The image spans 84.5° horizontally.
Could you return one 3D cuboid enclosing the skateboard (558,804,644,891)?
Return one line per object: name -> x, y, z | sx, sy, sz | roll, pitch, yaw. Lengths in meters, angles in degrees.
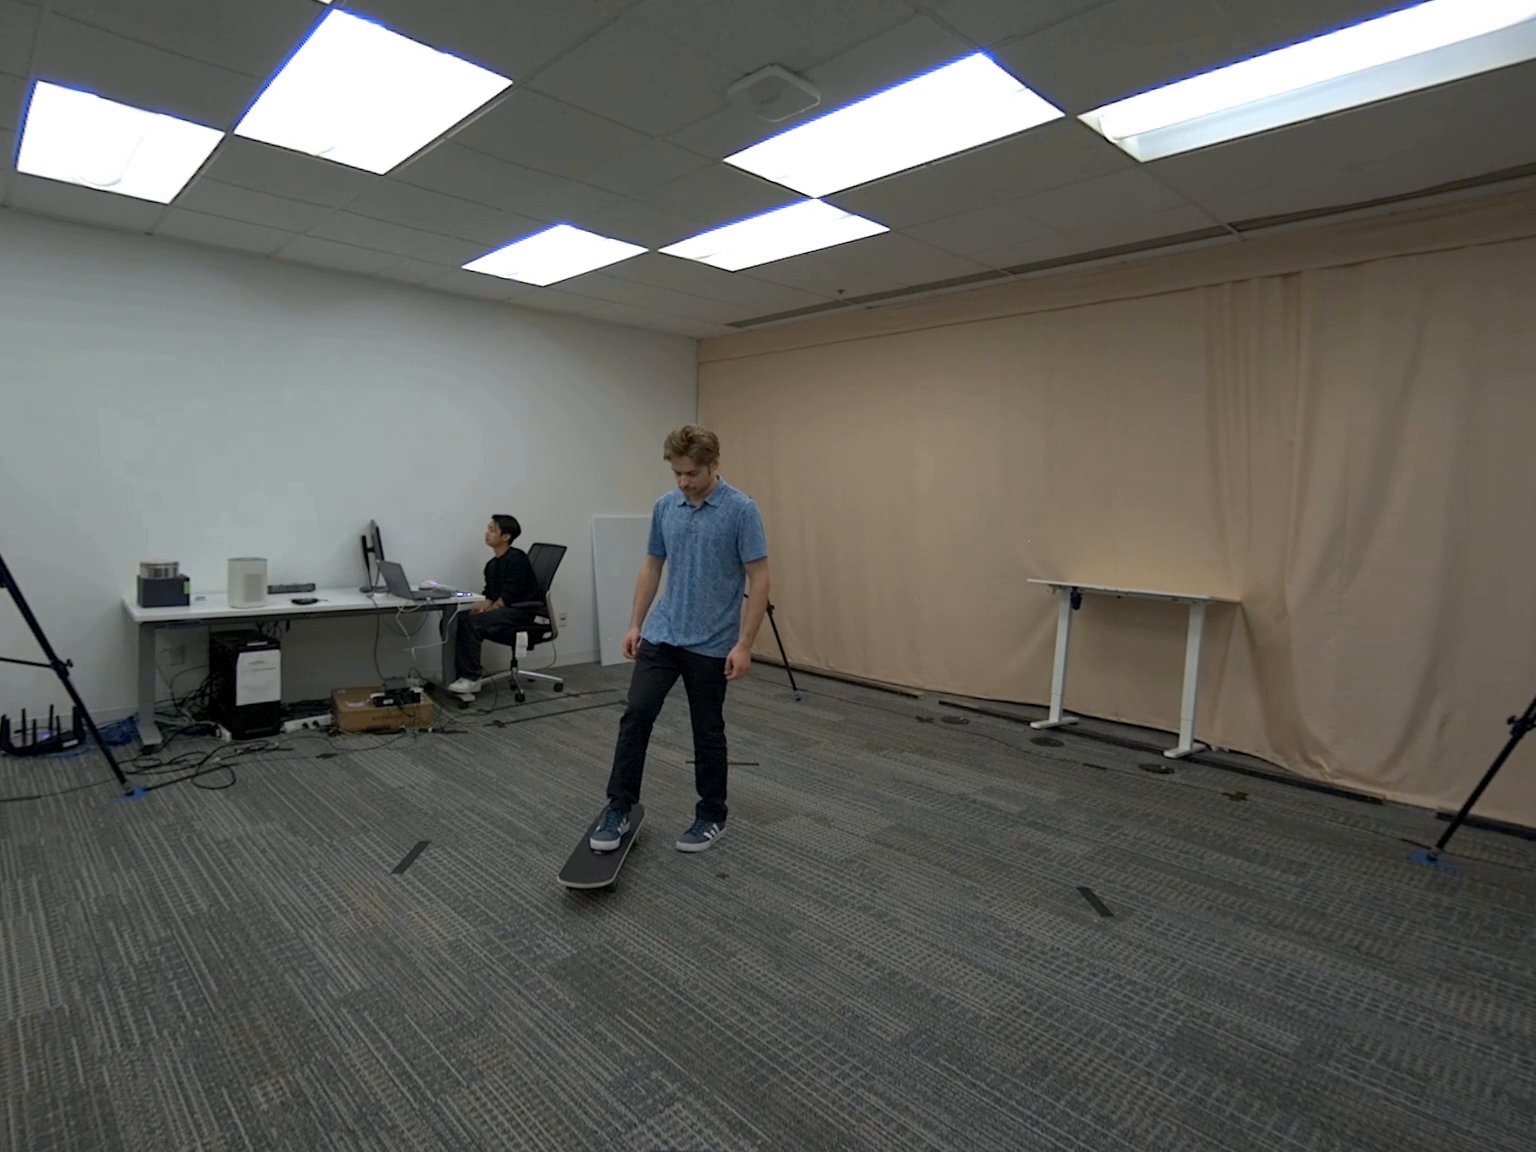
skateboard -> -0.614, 1.034, 3.167 | 0.194, 0.110, 0.785 | 3, 5, 2
